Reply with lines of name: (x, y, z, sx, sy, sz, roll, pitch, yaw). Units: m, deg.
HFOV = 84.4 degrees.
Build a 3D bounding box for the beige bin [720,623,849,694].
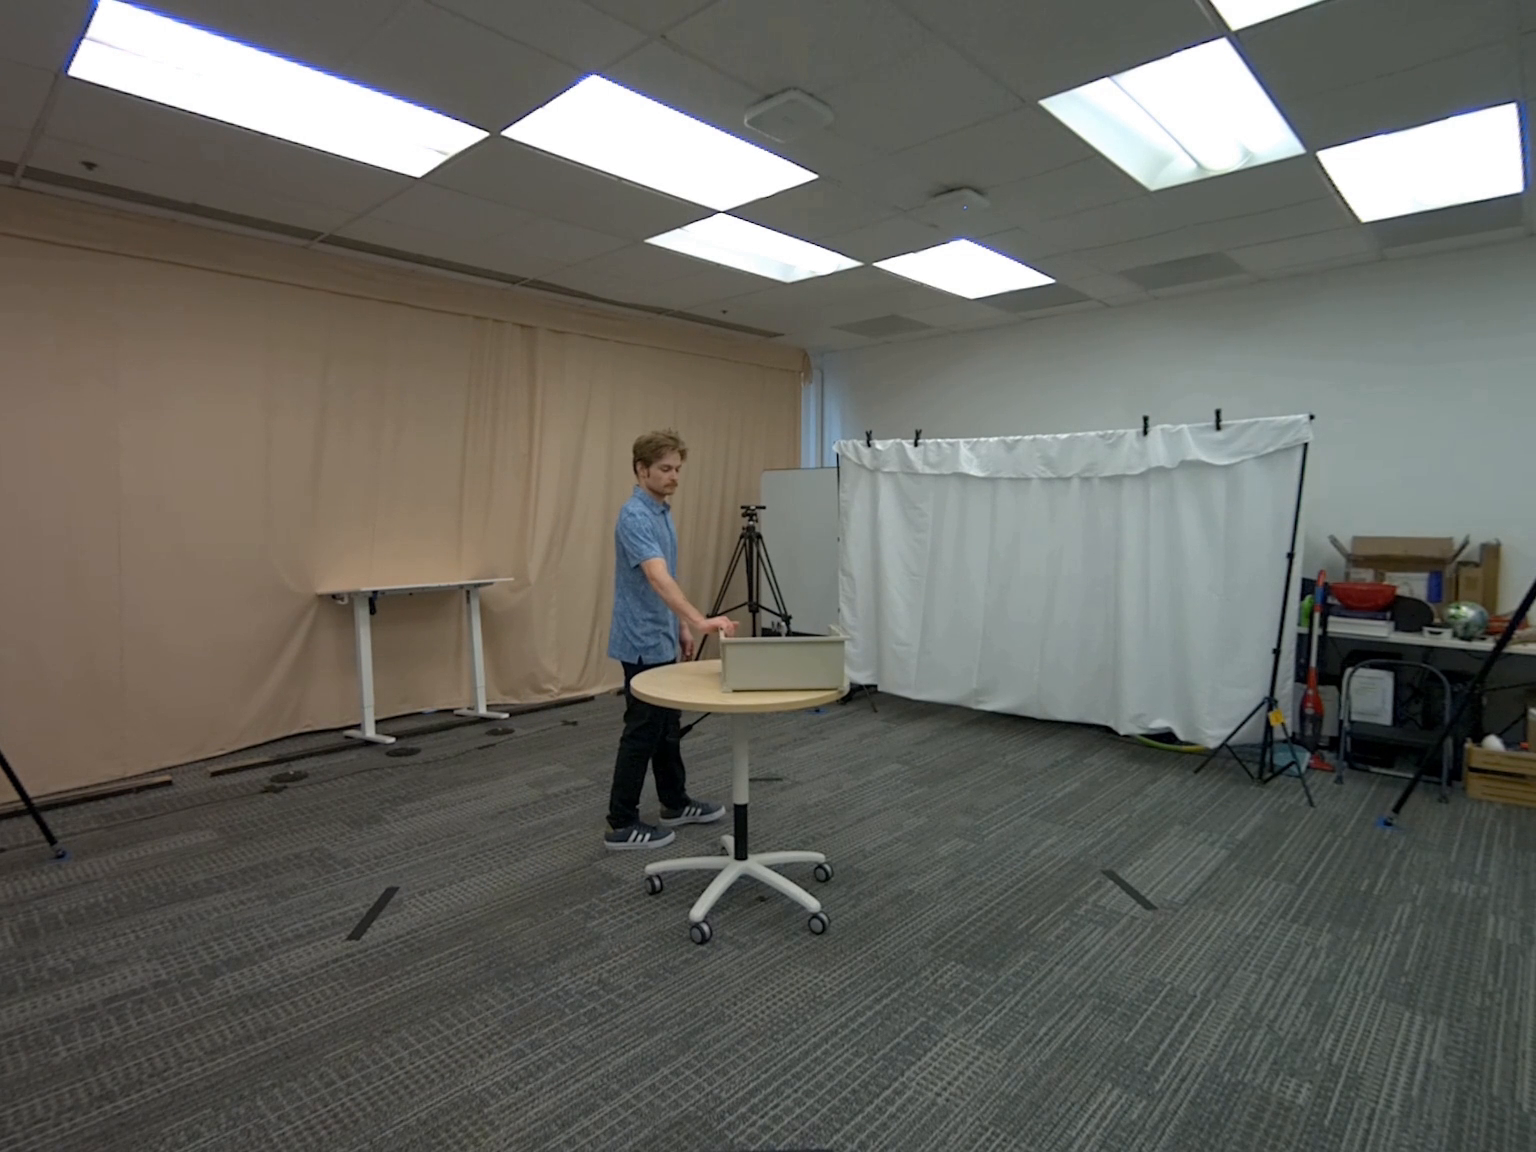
beige bin: (0.048, 0.274, 2.918, 0.422, 0.188, 0.379, -1, 6, -2)
